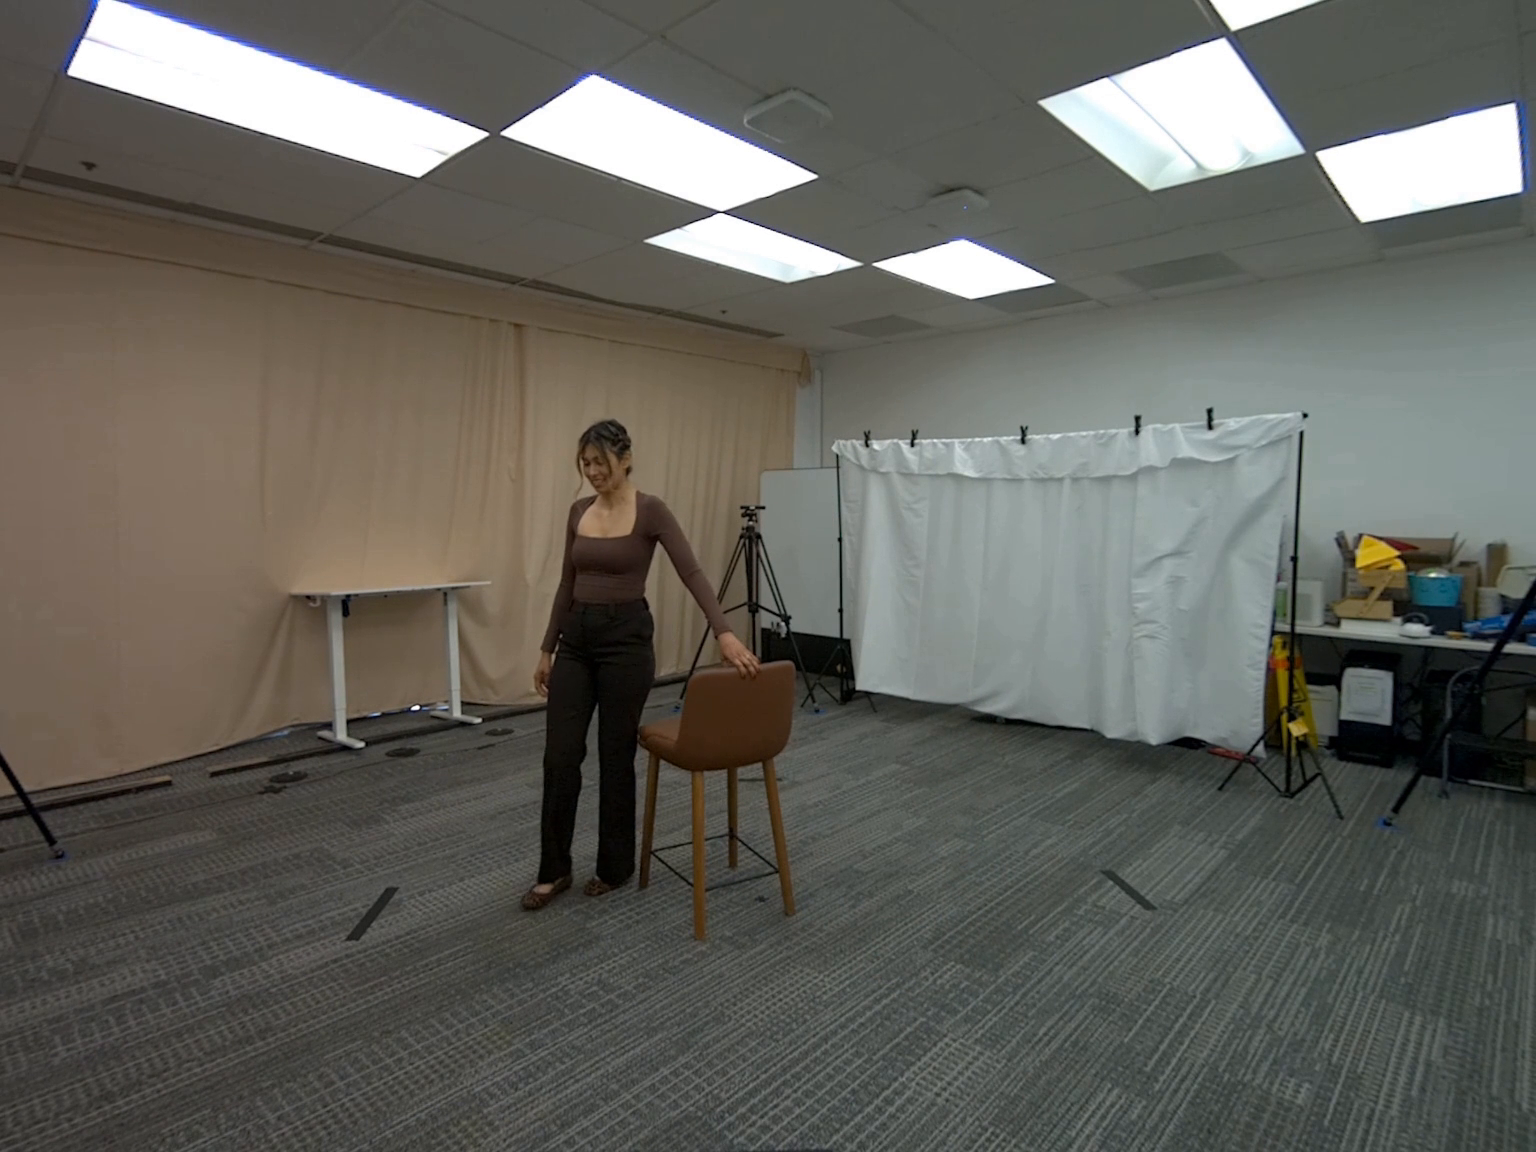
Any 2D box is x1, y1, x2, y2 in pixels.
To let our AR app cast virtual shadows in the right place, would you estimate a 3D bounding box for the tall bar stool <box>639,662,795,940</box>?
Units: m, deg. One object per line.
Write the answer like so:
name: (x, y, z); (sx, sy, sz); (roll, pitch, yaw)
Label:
tall bar stool: (-0.180, 0.715, 2.949); (0.444, 0.887, 0.482); (-3, 6, -31)
